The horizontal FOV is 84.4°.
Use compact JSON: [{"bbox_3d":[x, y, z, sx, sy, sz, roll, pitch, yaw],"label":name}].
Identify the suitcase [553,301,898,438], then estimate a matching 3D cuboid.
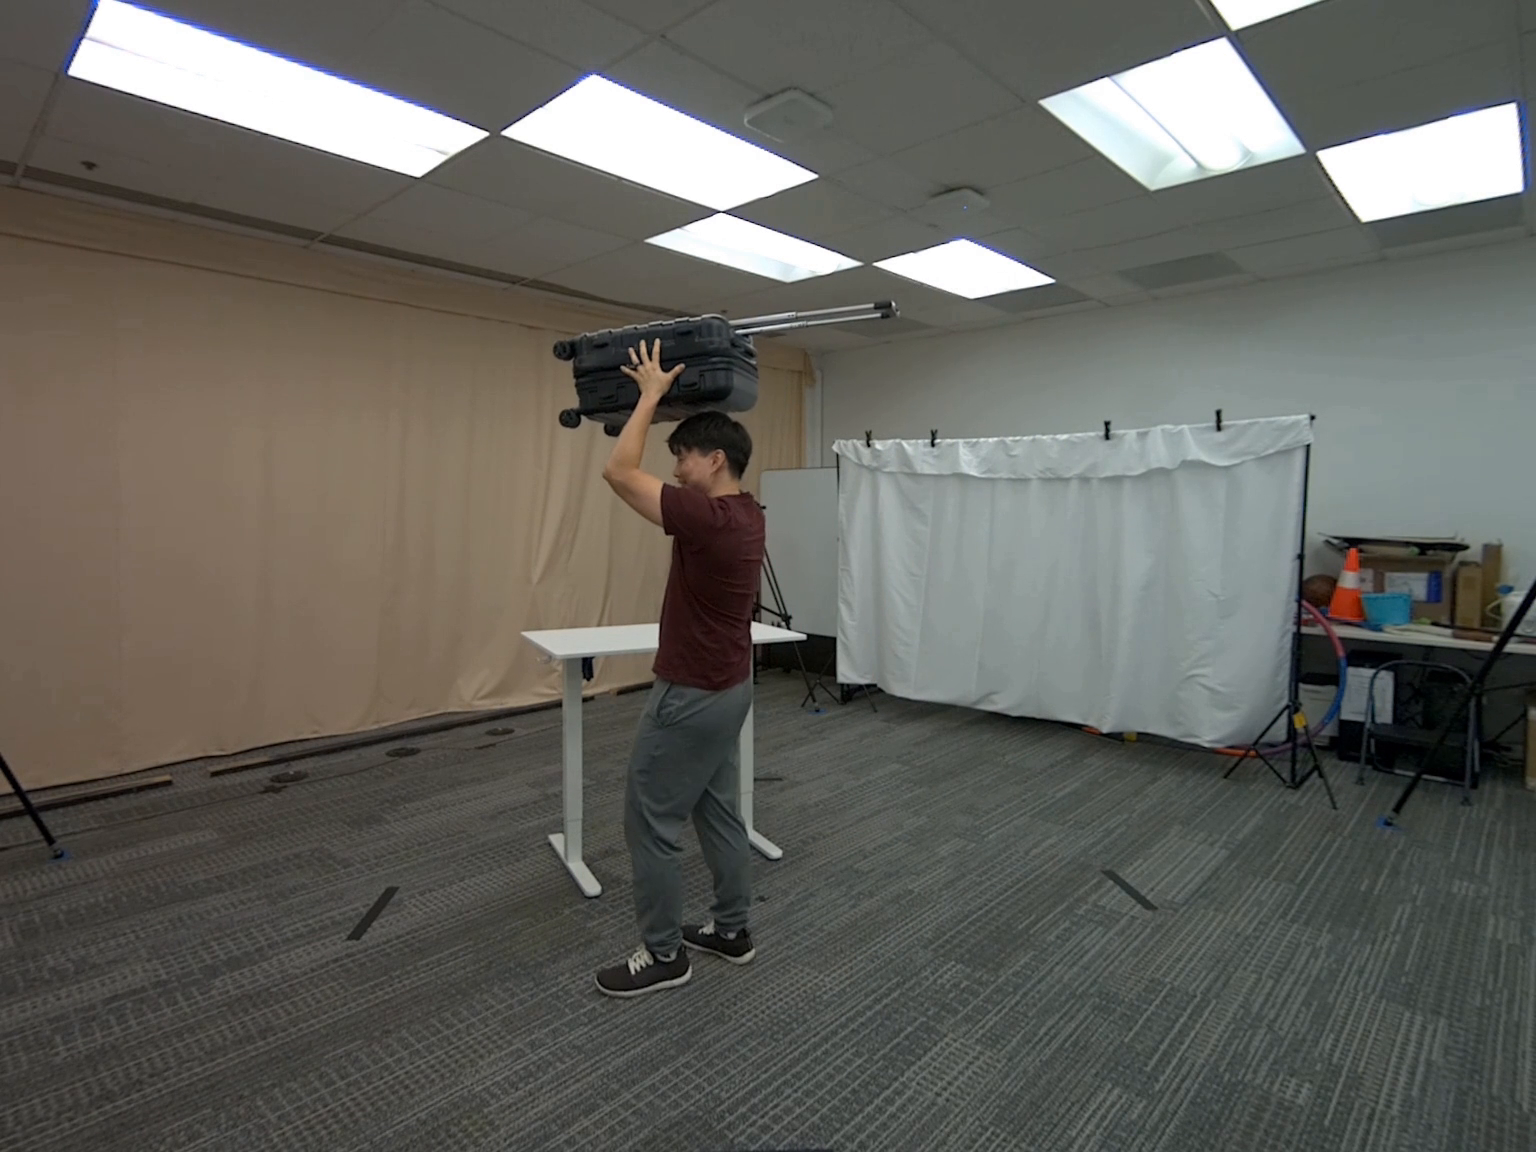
[{"bbox_3d":[-0.113,-0.614,2.475,0.998,0.256,0.377,-3,4,19],"label":"suitcase"}]
